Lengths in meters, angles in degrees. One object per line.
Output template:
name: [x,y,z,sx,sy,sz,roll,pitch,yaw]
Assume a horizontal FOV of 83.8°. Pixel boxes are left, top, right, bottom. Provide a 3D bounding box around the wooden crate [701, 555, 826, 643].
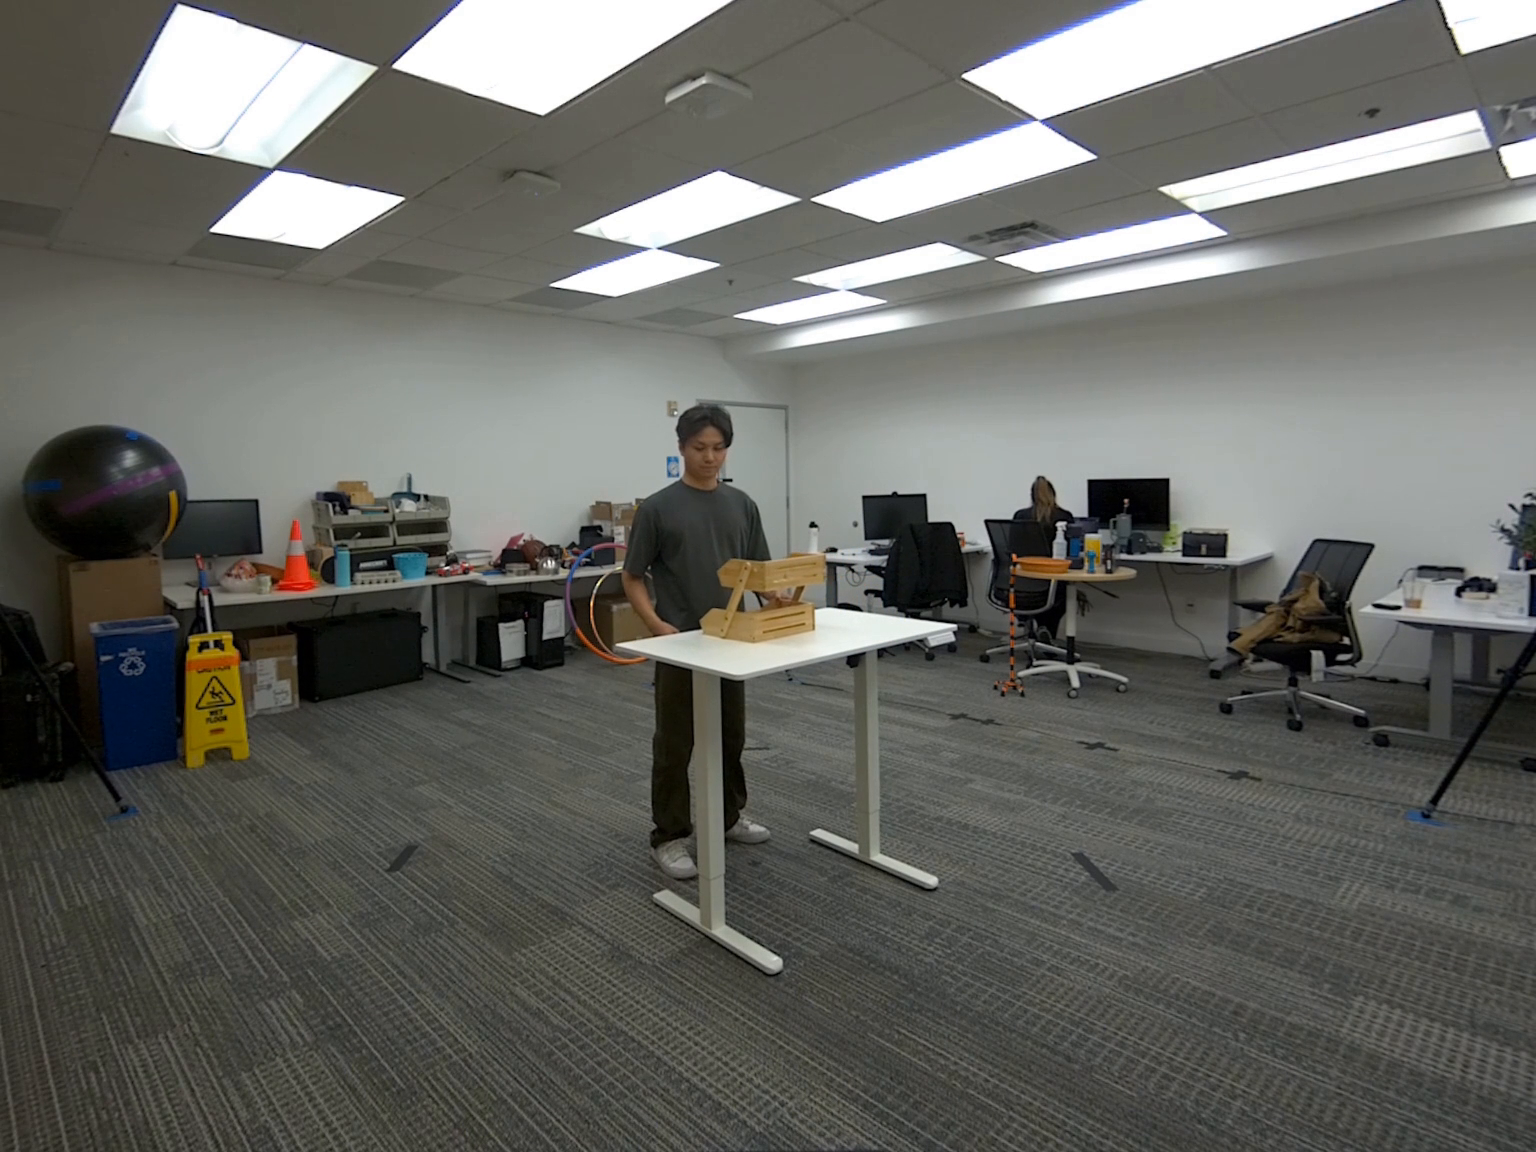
wooden crate: [-0.014,0.059,2.848,0.316,0.272,0.311,-7,8,-44]
